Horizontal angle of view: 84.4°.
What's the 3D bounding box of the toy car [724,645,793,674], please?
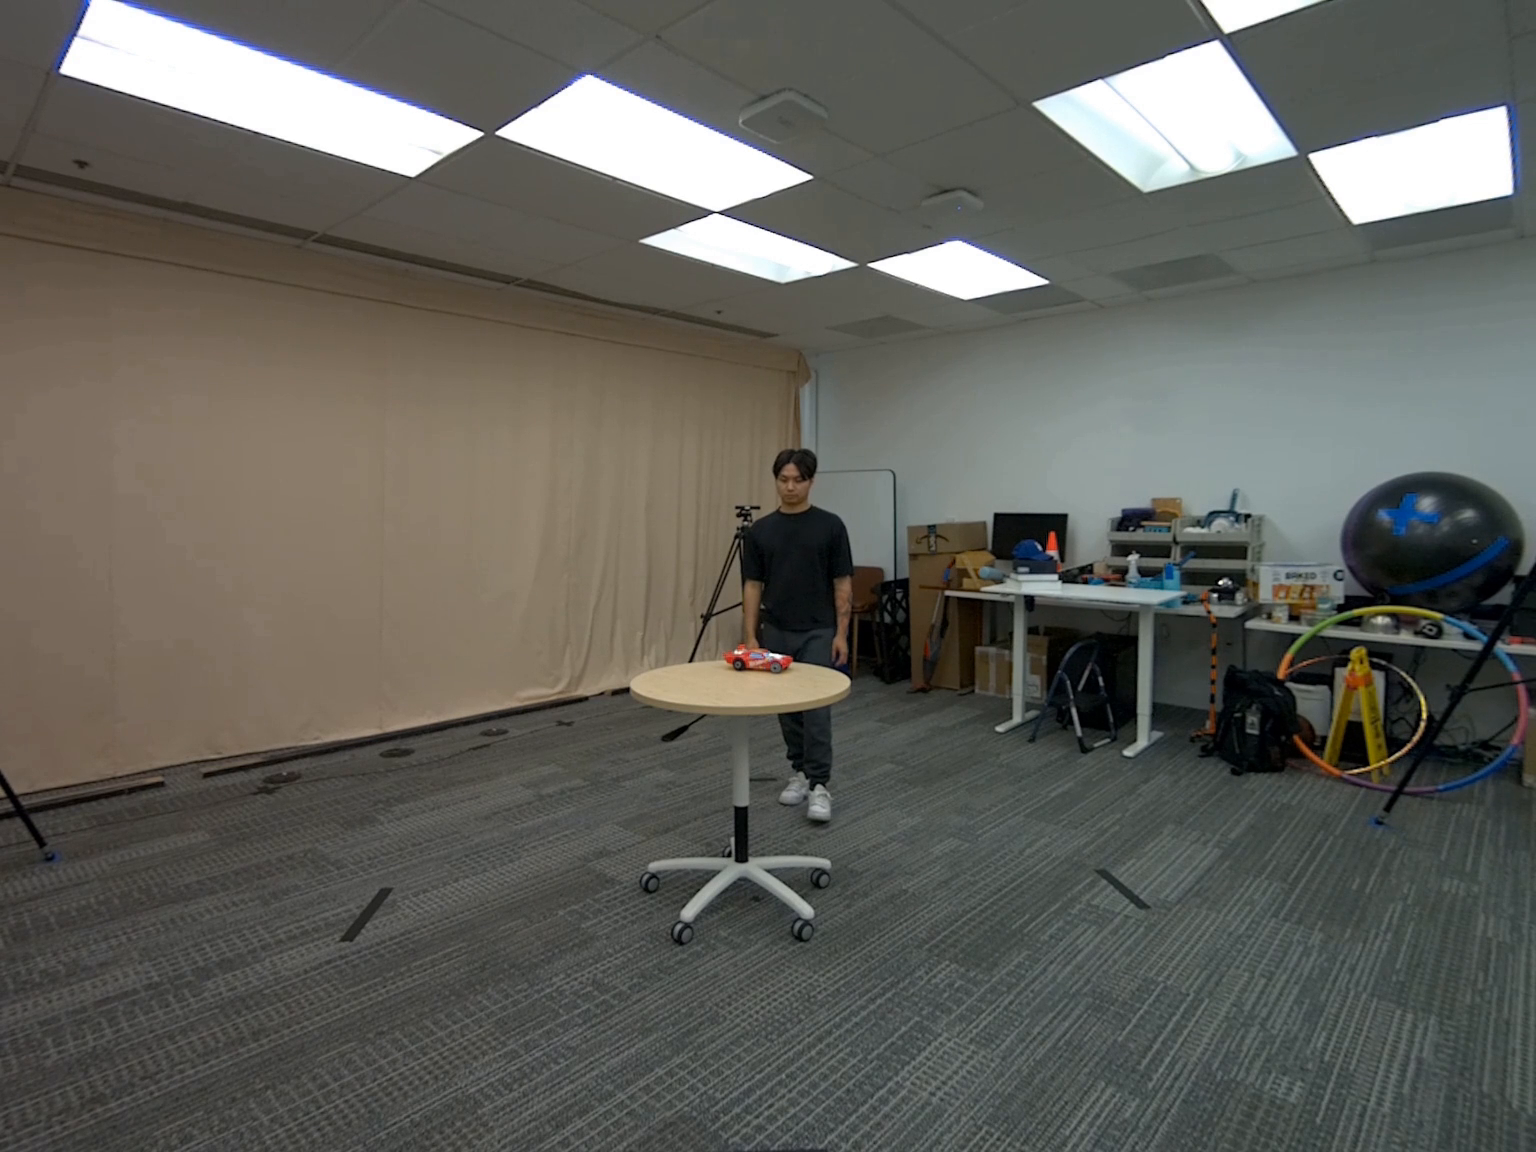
[{"bbox_3d":[-0.036,0.313,3.134,0.261,0.083,0.128,13,9,21],"label":"toy car"}]
